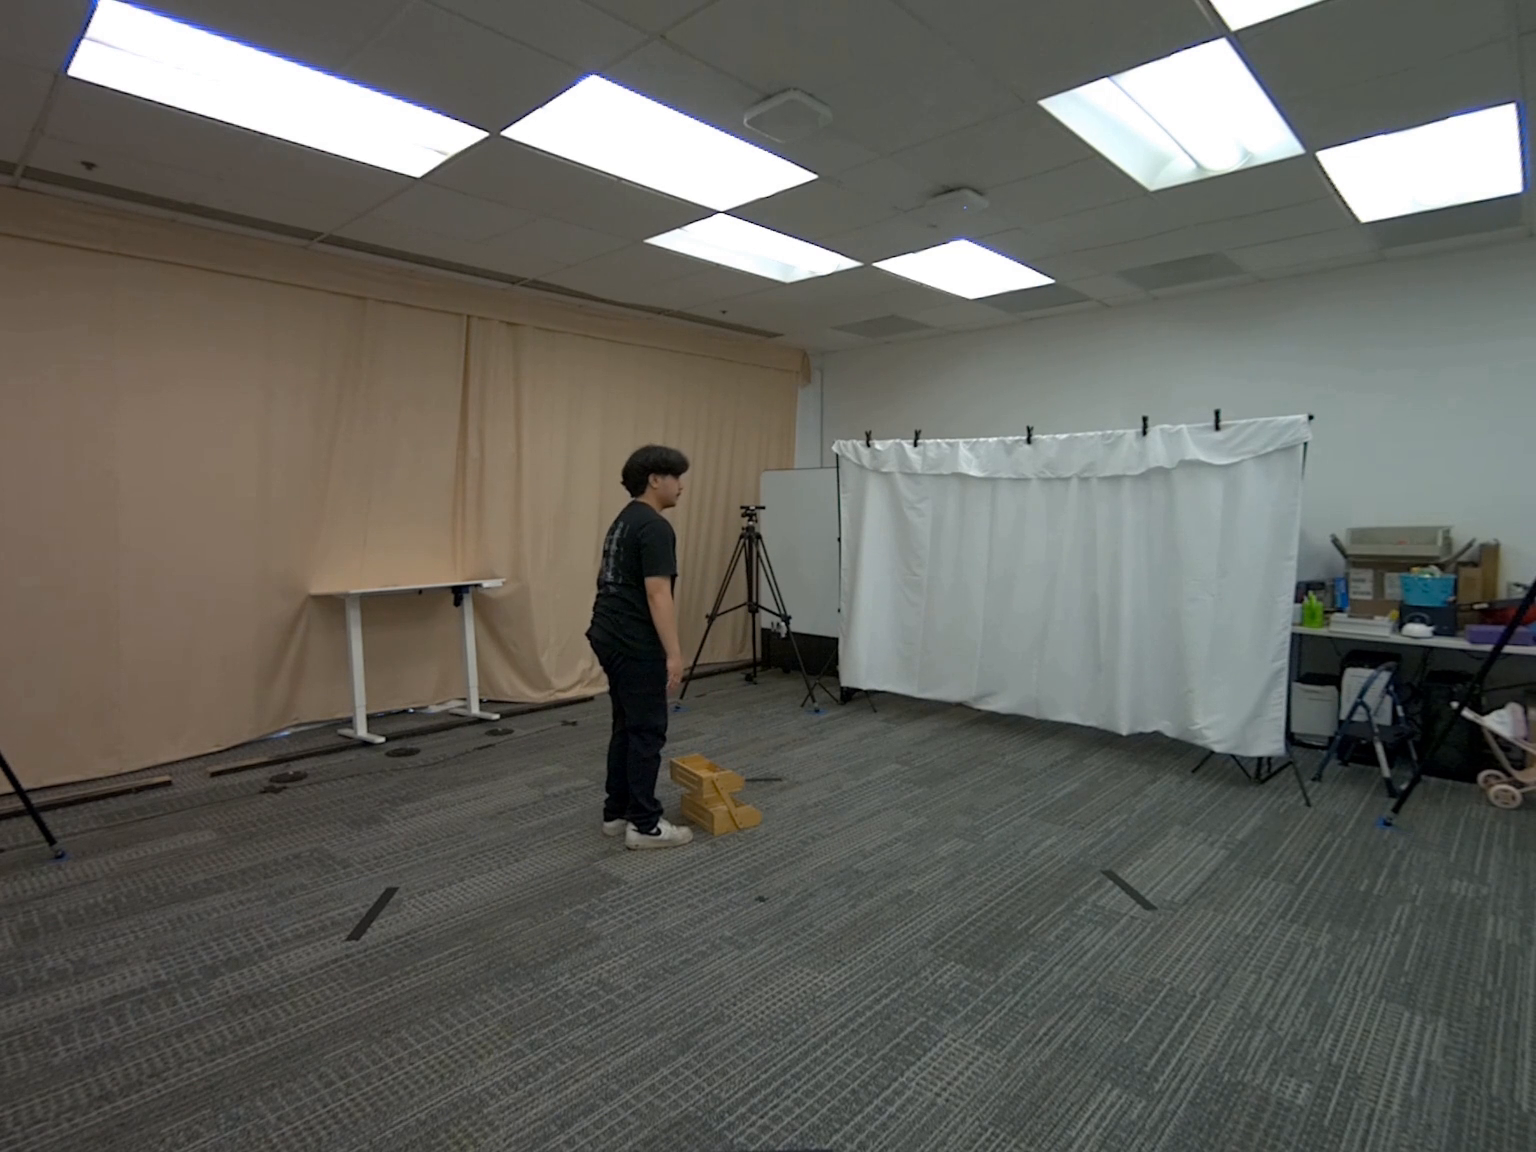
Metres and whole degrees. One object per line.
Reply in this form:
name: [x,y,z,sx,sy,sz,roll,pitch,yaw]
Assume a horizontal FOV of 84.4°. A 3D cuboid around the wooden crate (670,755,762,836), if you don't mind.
wooden crate: [-0.232,0.955,3.738,0.294,0.273,0.334,-4,5,-32]
